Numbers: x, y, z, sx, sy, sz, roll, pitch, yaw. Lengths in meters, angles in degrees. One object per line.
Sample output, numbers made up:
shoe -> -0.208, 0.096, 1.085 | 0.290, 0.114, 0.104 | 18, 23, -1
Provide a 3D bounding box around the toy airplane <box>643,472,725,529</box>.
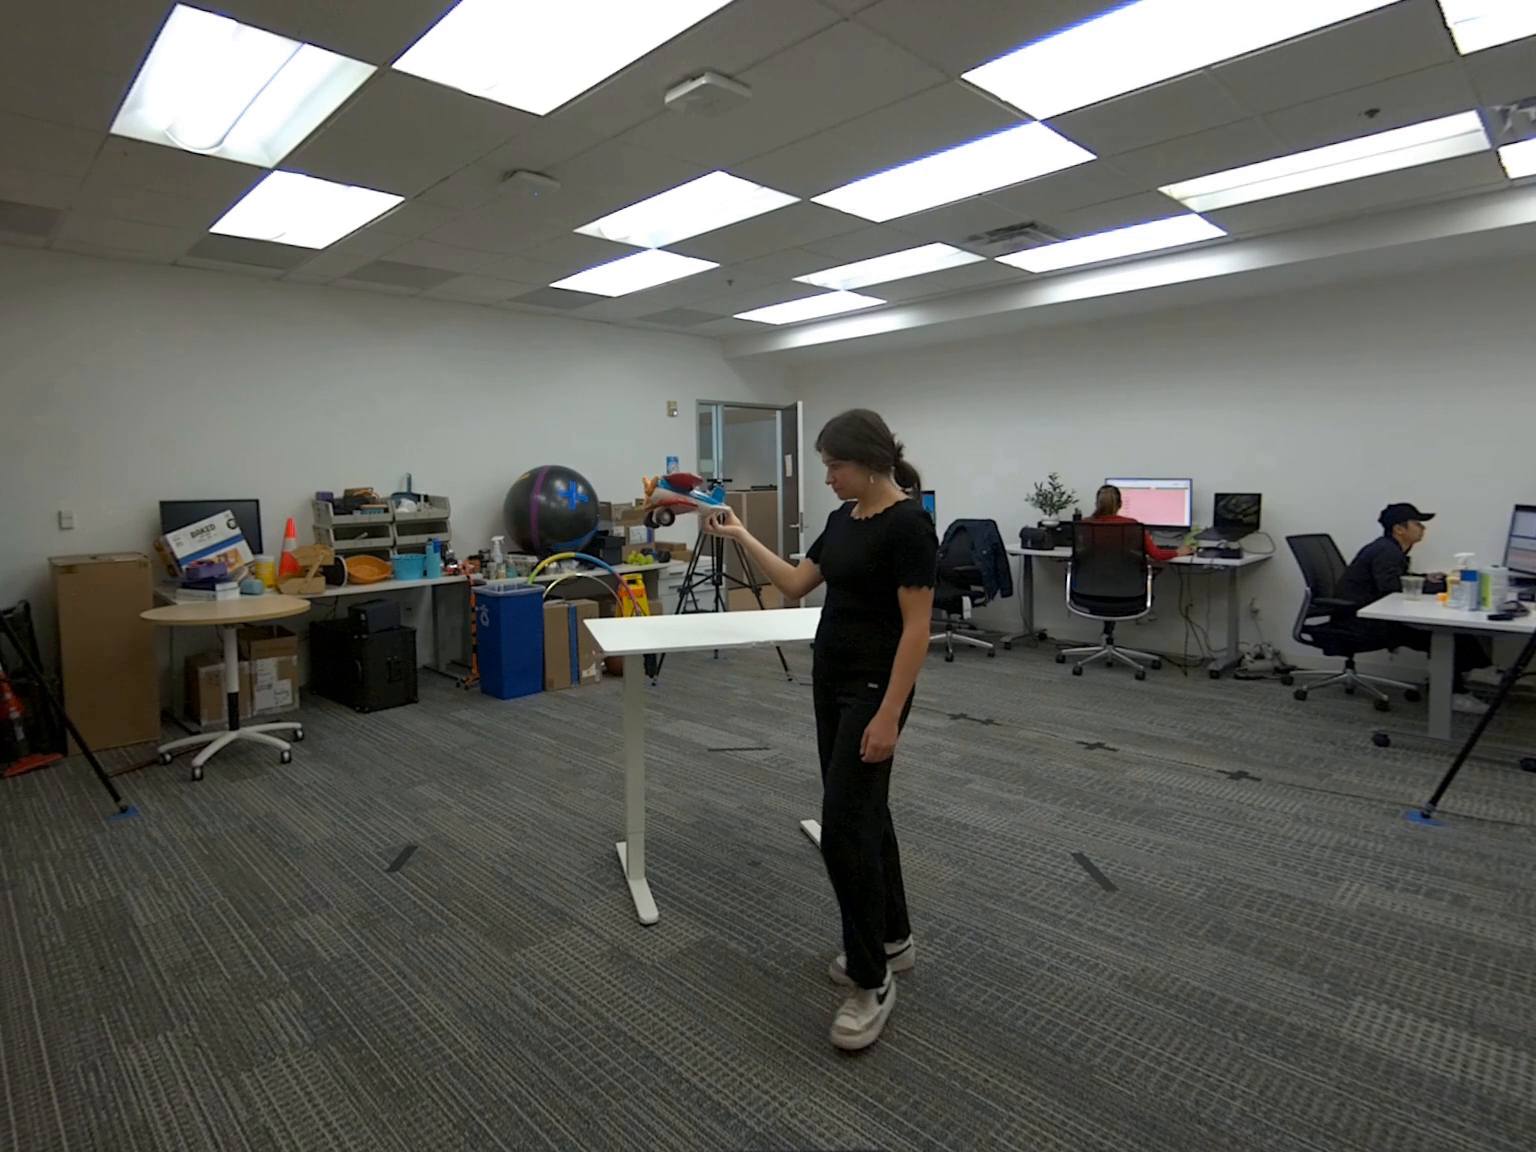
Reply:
toy airplane -> -0.255, -0.217, 2.556 | 0.257, 0.157, 0.252 | -2, -2, 31
